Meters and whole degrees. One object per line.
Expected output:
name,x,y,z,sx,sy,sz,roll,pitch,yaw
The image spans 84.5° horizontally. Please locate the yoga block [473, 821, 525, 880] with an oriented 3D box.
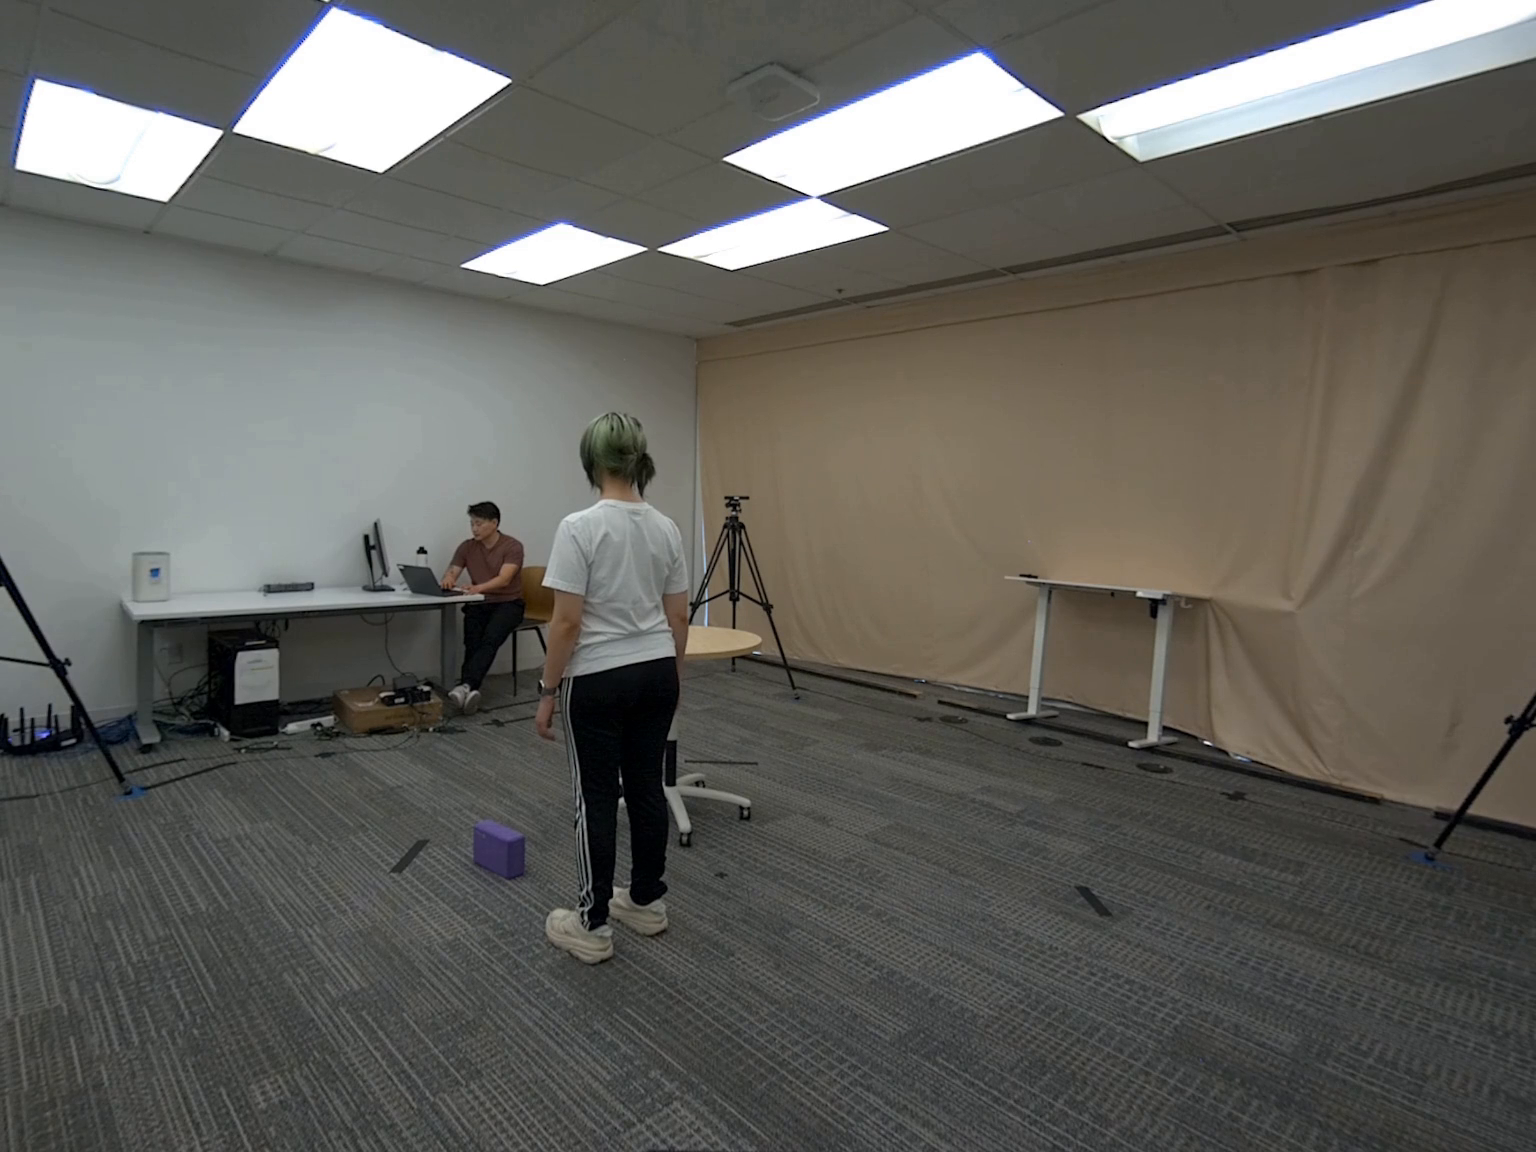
yoga block,-1.006,1.010,3.111,0.235,0.149,0.075,4,4,39
